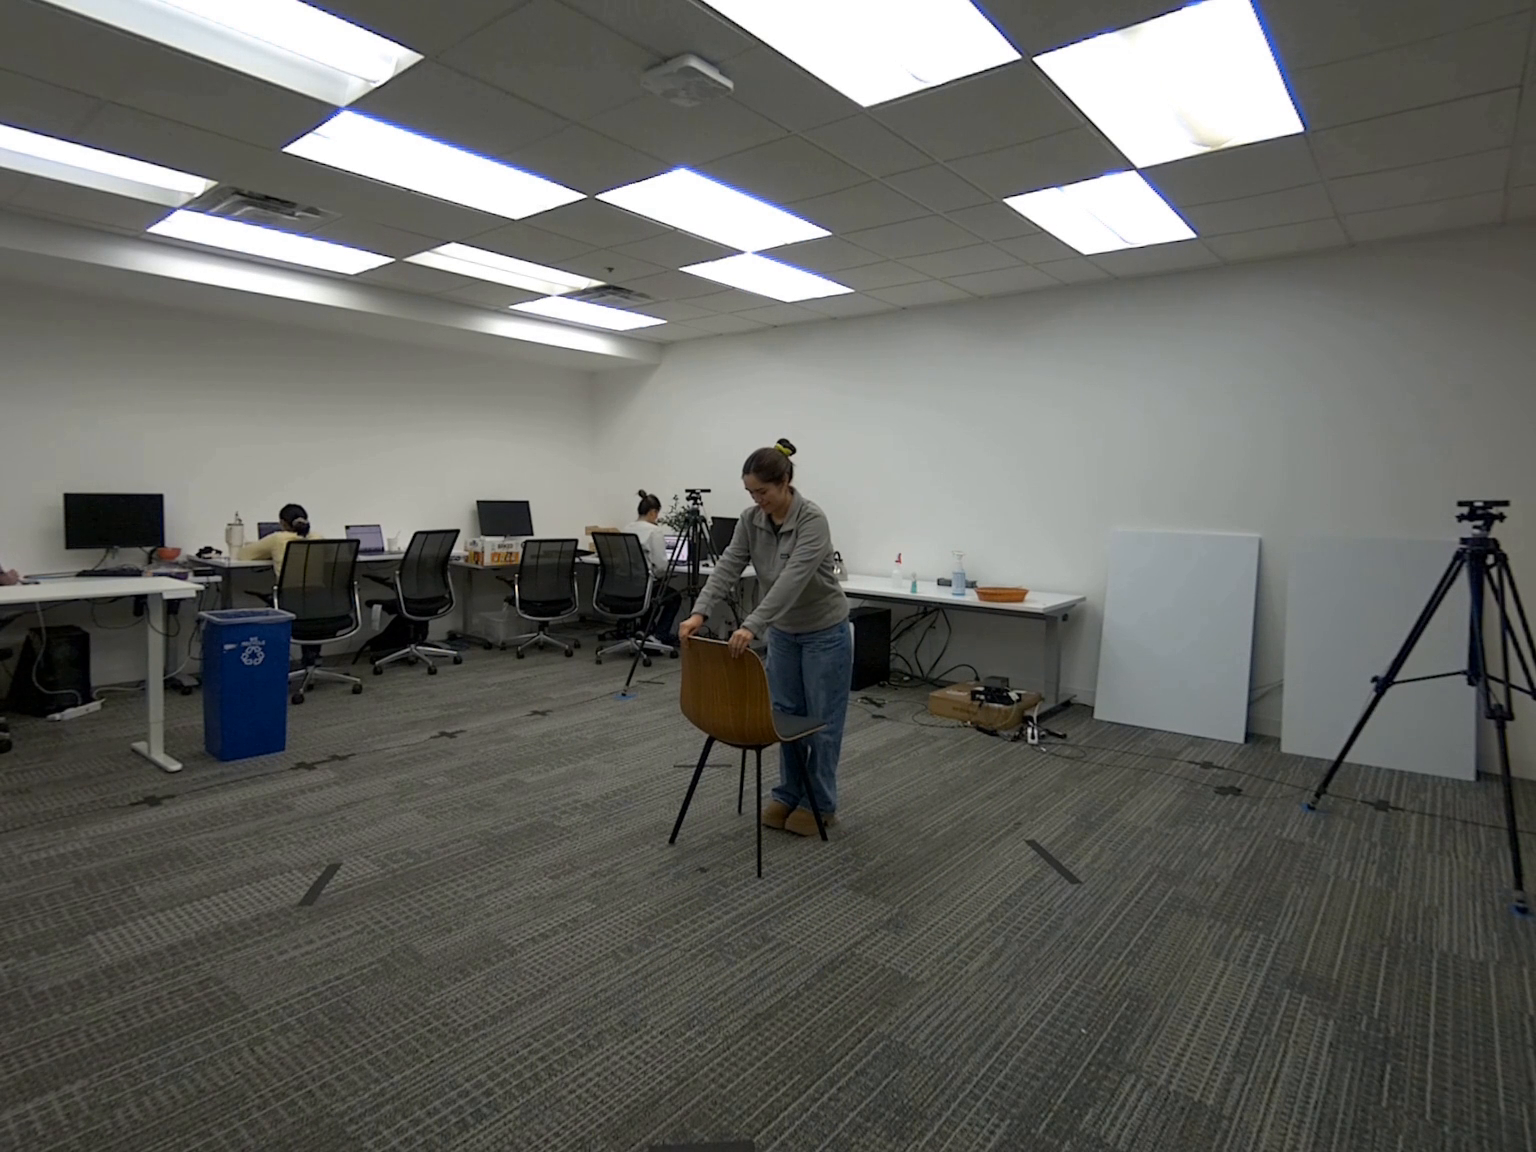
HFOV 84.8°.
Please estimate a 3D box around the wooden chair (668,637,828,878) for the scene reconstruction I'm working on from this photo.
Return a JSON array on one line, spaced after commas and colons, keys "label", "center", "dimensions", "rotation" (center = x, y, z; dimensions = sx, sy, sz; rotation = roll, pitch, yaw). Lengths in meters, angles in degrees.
[{"label": "wooden chair", "center": [-0.077, 0.628, 3.344], "dimensions": [0.494, 0.872, 0.509], "rotation": [4, 8, 38]}]
